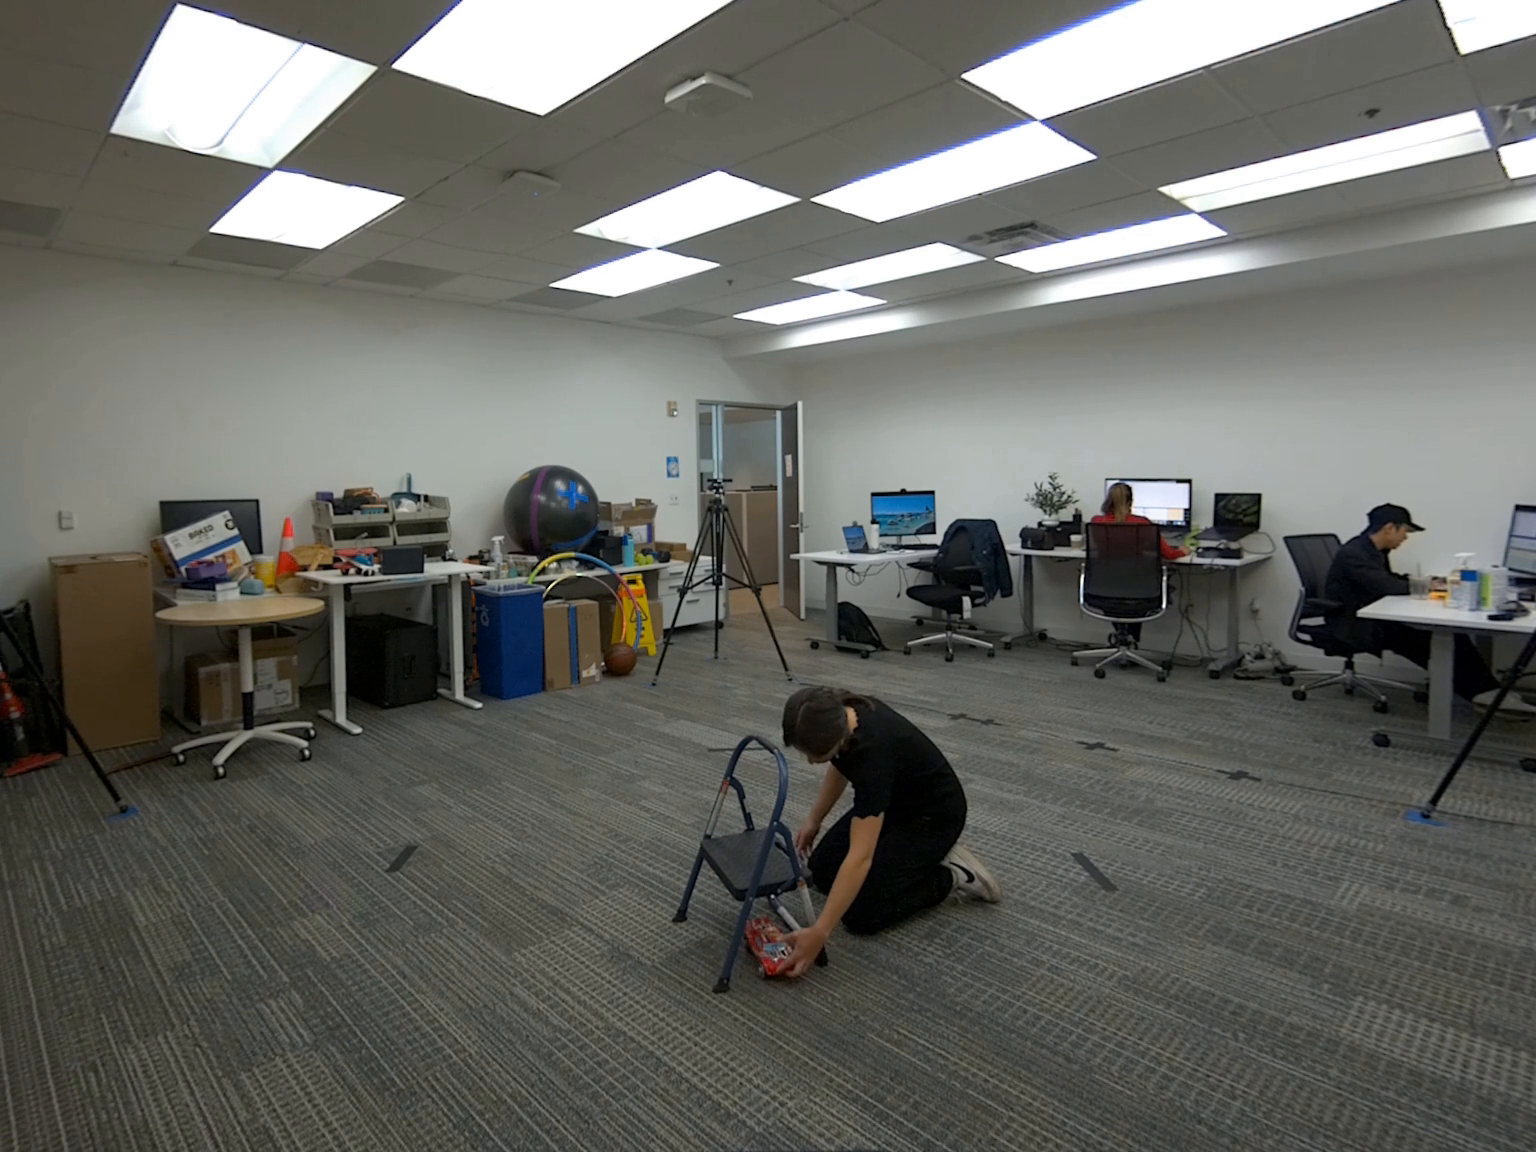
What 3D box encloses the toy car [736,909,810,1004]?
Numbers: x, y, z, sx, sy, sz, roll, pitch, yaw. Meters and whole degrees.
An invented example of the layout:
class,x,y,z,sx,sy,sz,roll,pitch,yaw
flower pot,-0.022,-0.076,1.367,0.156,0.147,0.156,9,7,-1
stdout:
class,x,y,z,sx,sy,sz,roll,pitch,yaw
toy car,0.009,1.096,2.487,0.128,0.082,0.262,-3,17,-18
